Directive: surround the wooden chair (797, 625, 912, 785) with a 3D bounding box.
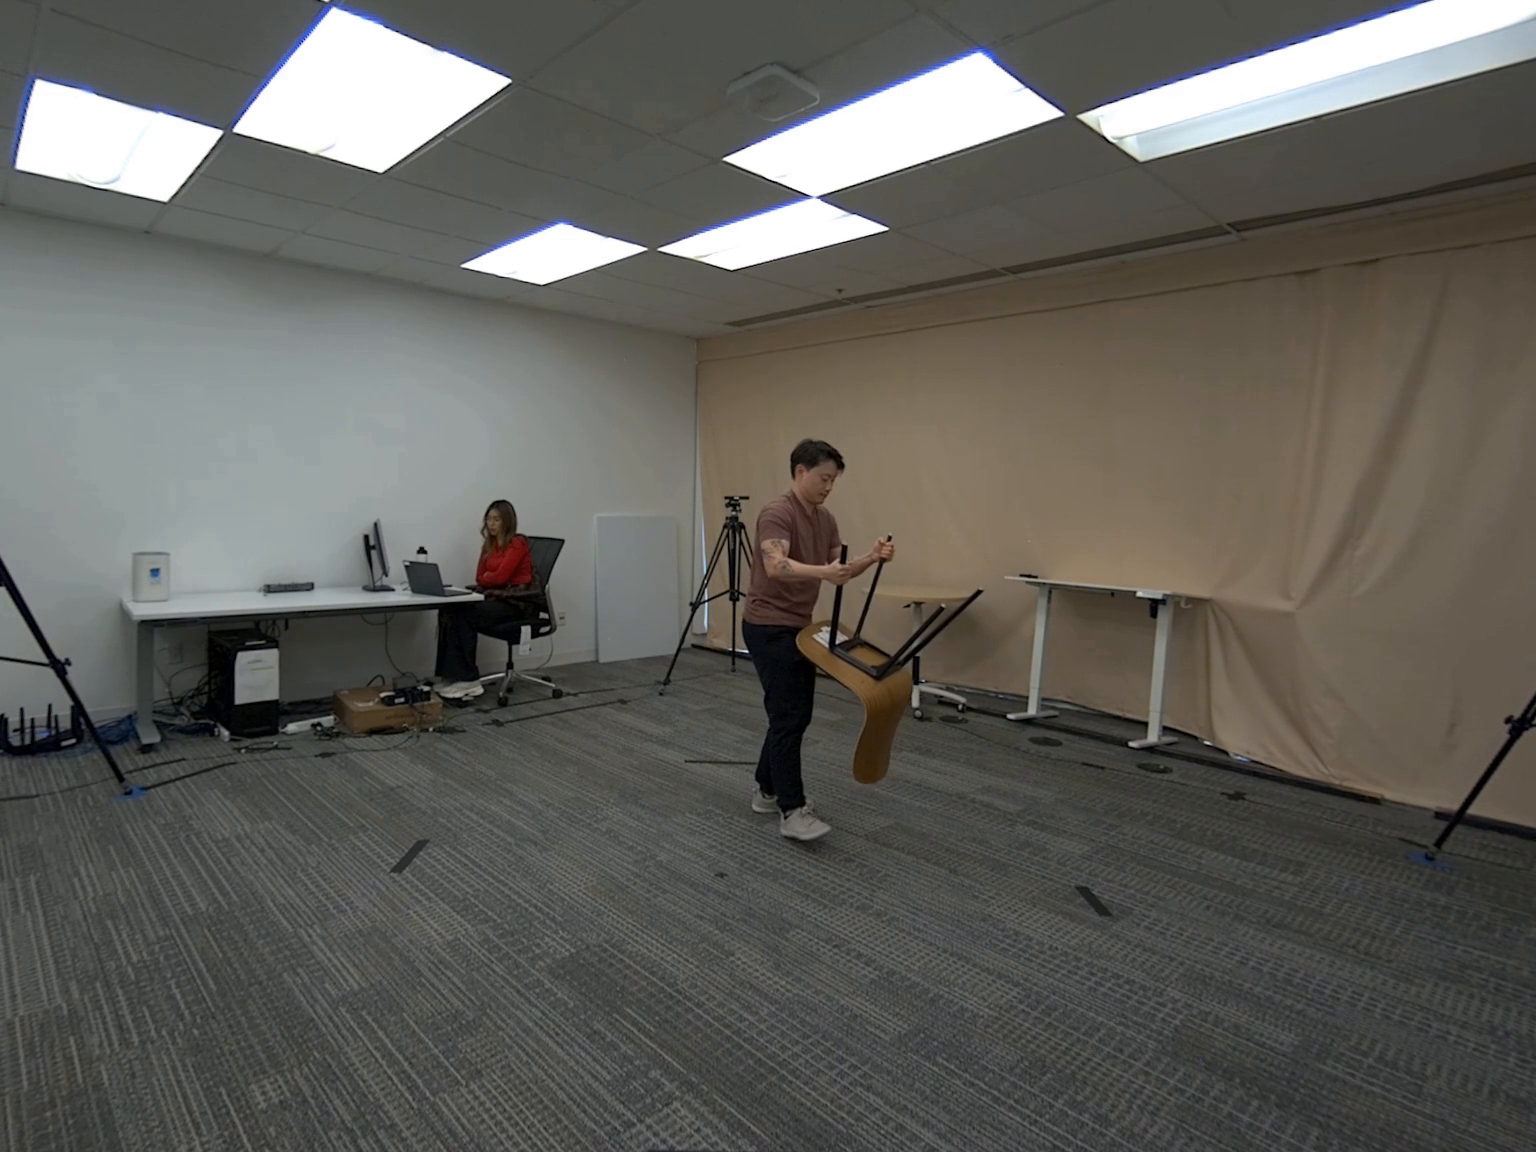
[{"bbox_3d":[0.388,0.326,3.420,0.537,0.871,0.469,30,21,26],"label":"wooden chair"}]
